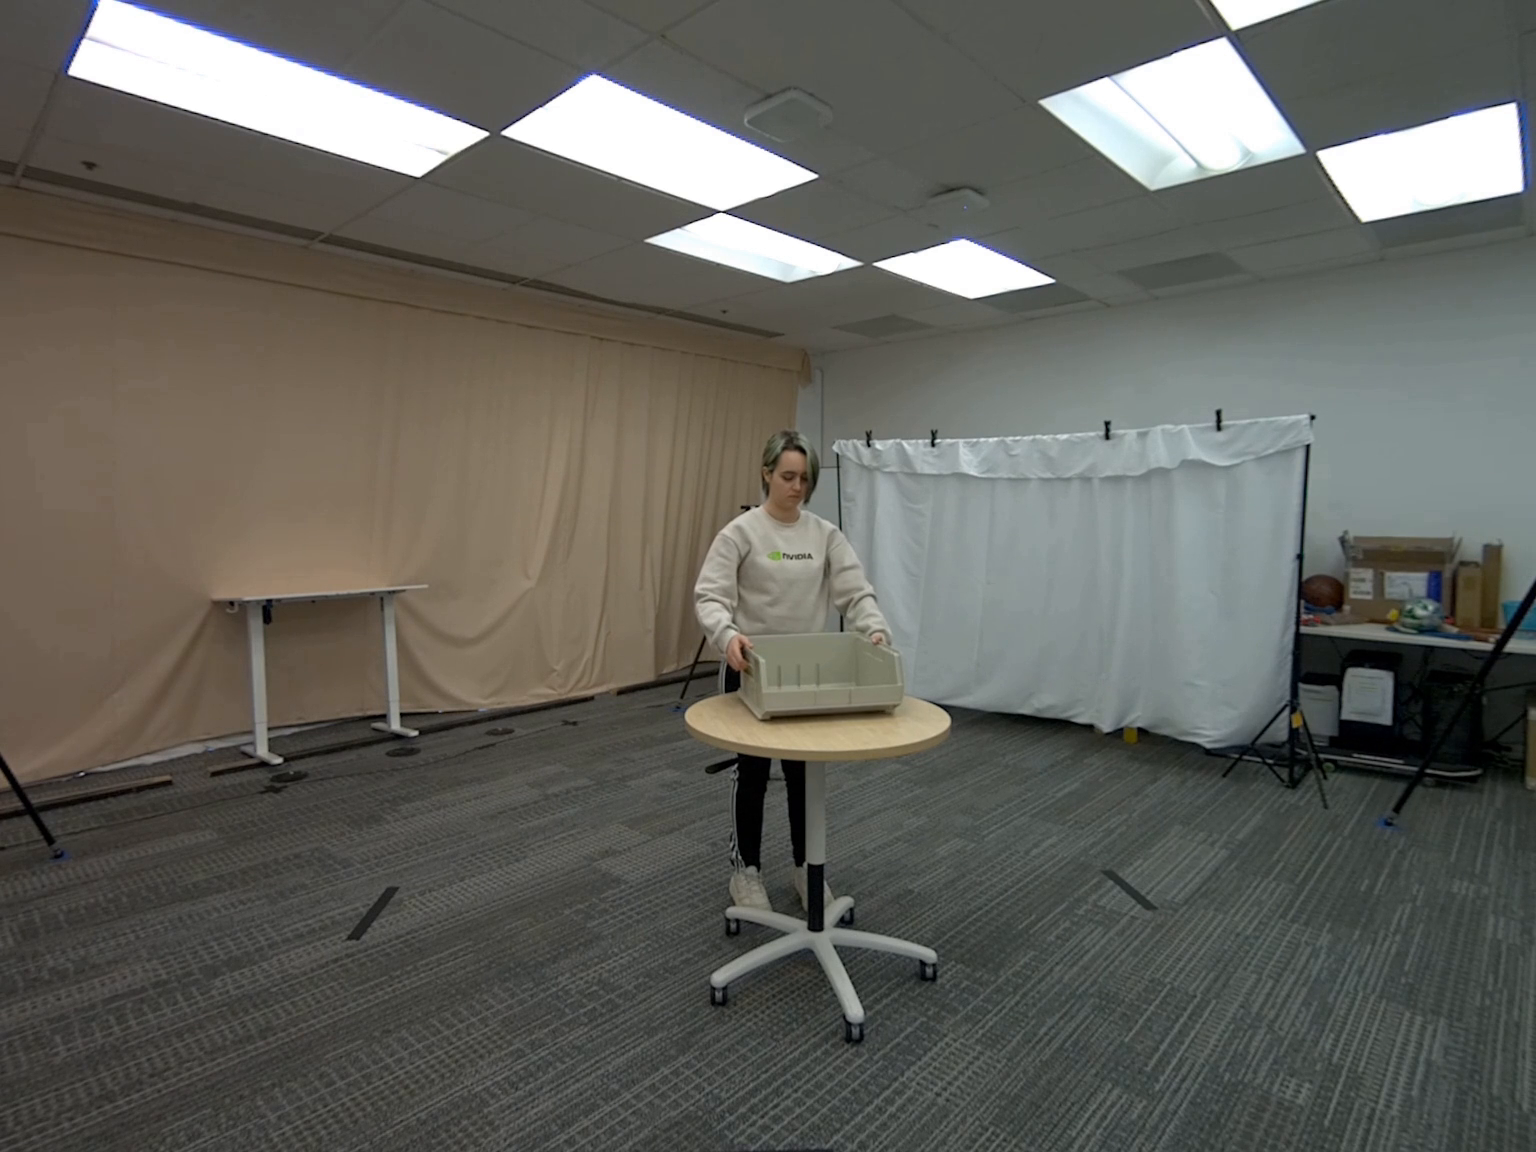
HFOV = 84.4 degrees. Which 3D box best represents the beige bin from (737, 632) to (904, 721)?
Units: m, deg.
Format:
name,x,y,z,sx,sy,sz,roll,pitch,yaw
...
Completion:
name,x,y,z,sx,sy,sz,roll,pitch,yaw
beige bin,0.140,0.289,2.533,0.417,0.188,0.383,-2,5,-12
